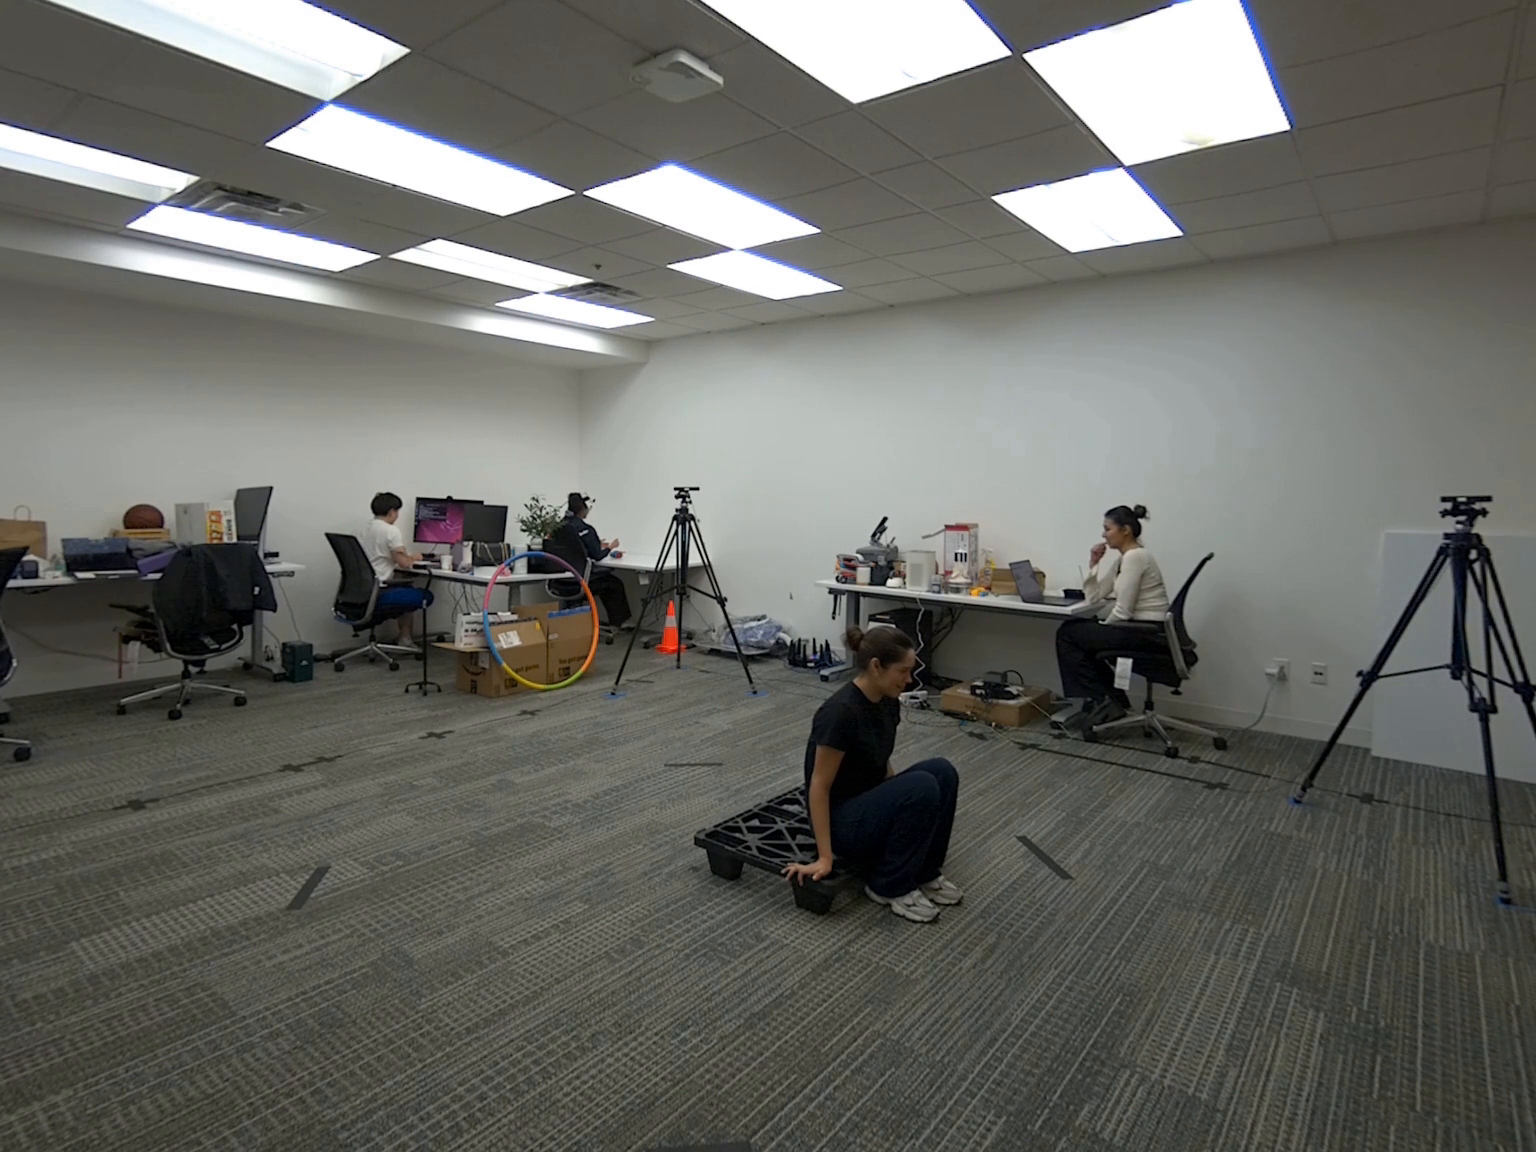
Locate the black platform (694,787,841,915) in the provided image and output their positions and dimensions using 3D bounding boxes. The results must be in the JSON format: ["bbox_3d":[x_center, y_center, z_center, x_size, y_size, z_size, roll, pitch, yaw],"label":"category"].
[{"bbox_3d":[0.202,0.997,3.212,0.625,0.143,0.782,5,6,38],"label":"black platform"}]
